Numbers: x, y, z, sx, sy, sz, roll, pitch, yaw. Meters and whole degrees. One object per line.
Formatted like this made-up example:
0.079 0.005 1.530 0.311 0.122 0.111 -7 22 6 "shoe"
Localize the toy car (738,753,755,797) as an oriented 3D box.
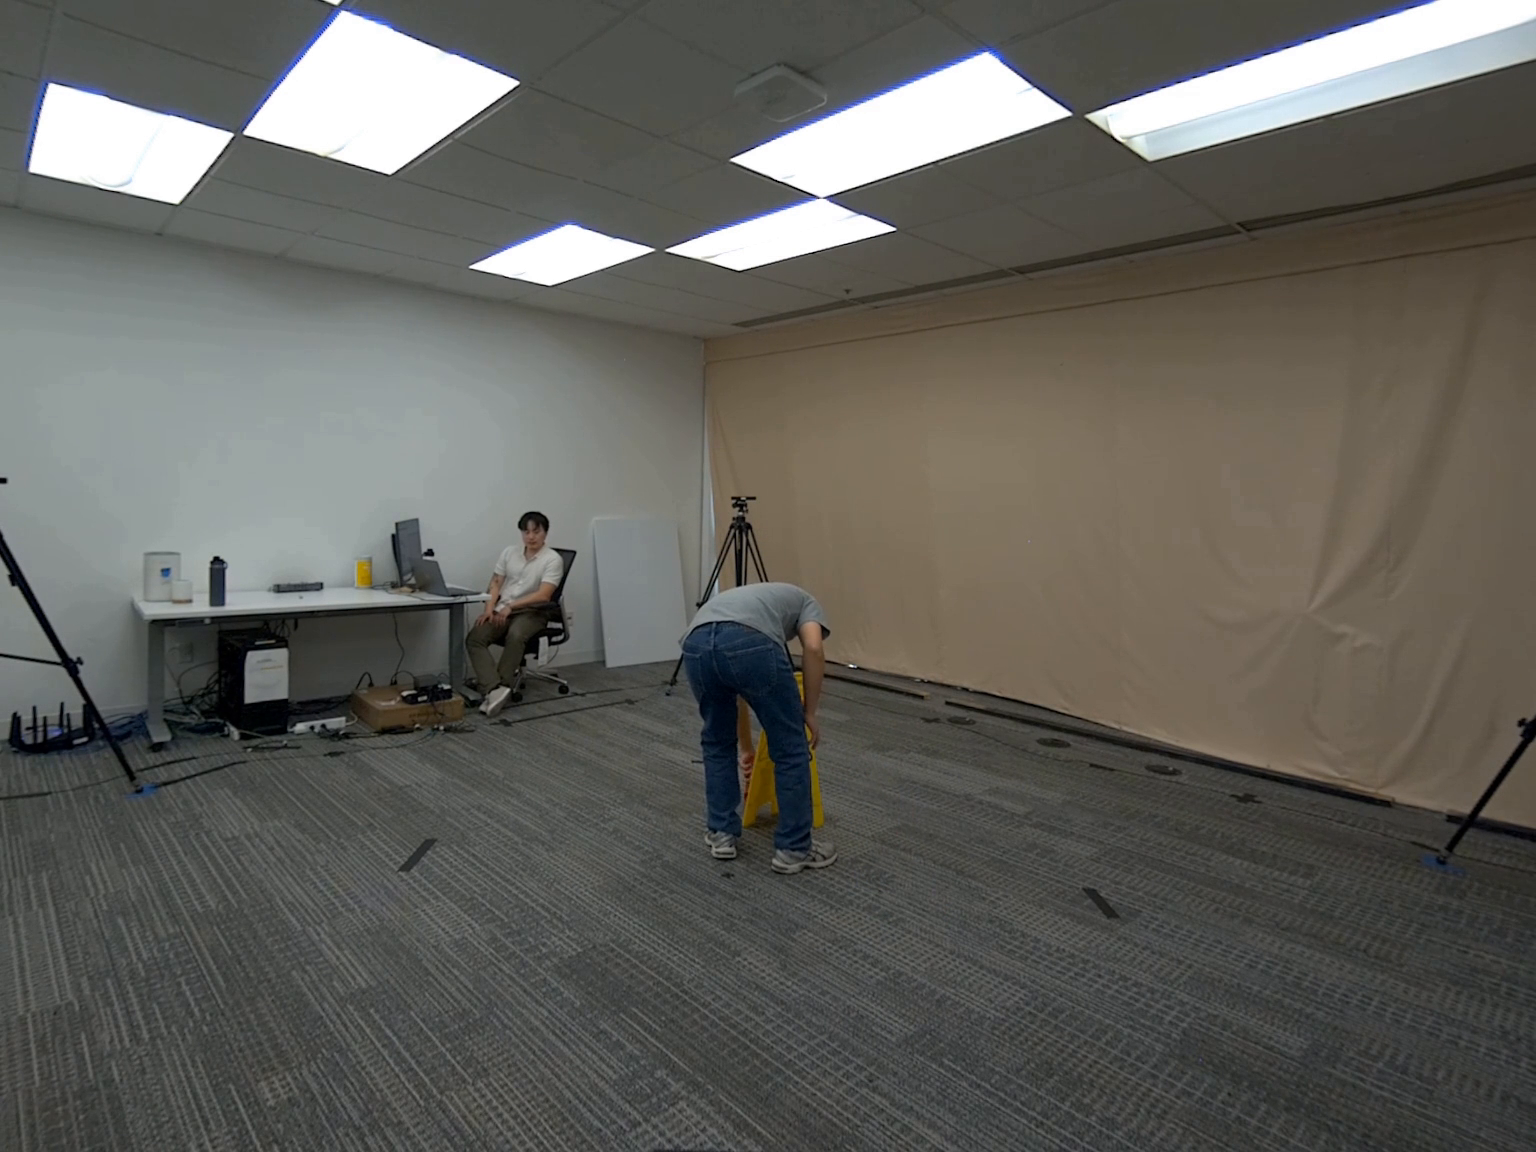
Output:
-0.034 0.902 3.662 0.085 0.253 0.127 36 21 31 "toy car"
